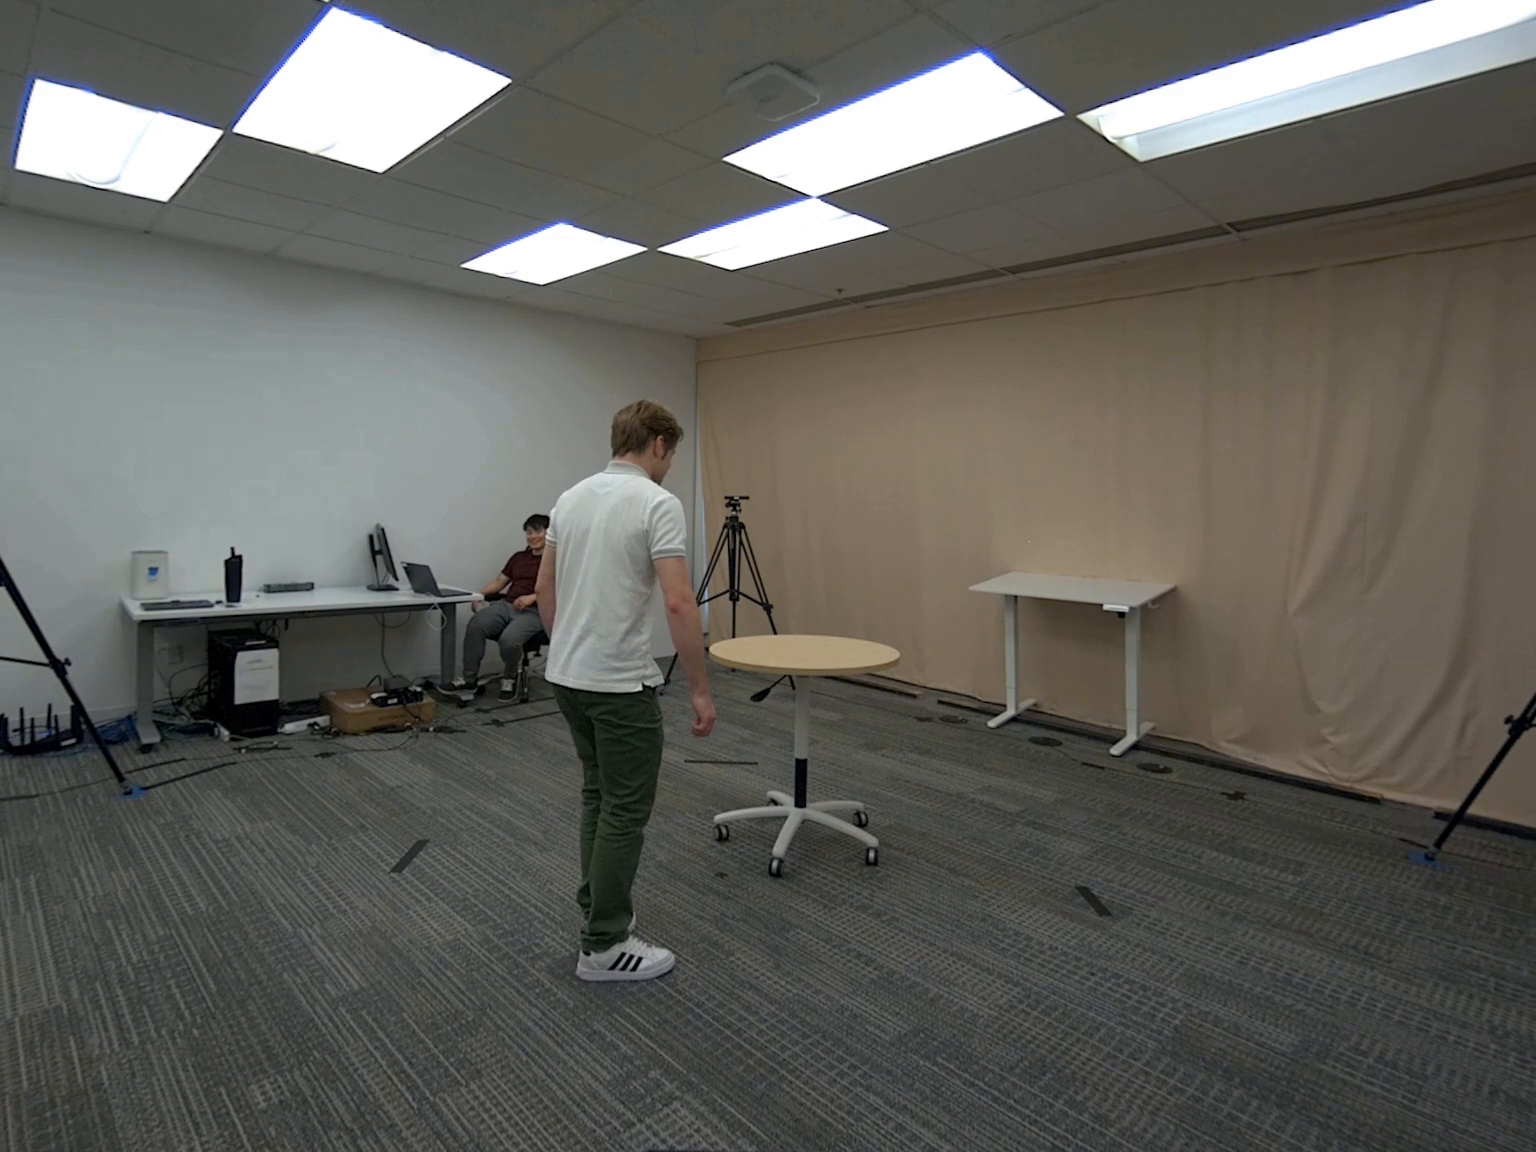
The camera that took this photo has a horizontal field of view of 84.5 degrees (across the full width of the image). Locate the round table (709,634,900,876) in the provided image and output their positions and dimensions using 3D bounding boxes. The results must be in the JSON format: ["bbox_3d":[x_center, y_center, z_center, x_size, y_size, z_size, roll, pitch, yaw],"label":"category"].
[{"bbox_3d":[0.133,0.694,3.417,0.763,0.792,0.766,1,4,-1],"label":"round table"}]
